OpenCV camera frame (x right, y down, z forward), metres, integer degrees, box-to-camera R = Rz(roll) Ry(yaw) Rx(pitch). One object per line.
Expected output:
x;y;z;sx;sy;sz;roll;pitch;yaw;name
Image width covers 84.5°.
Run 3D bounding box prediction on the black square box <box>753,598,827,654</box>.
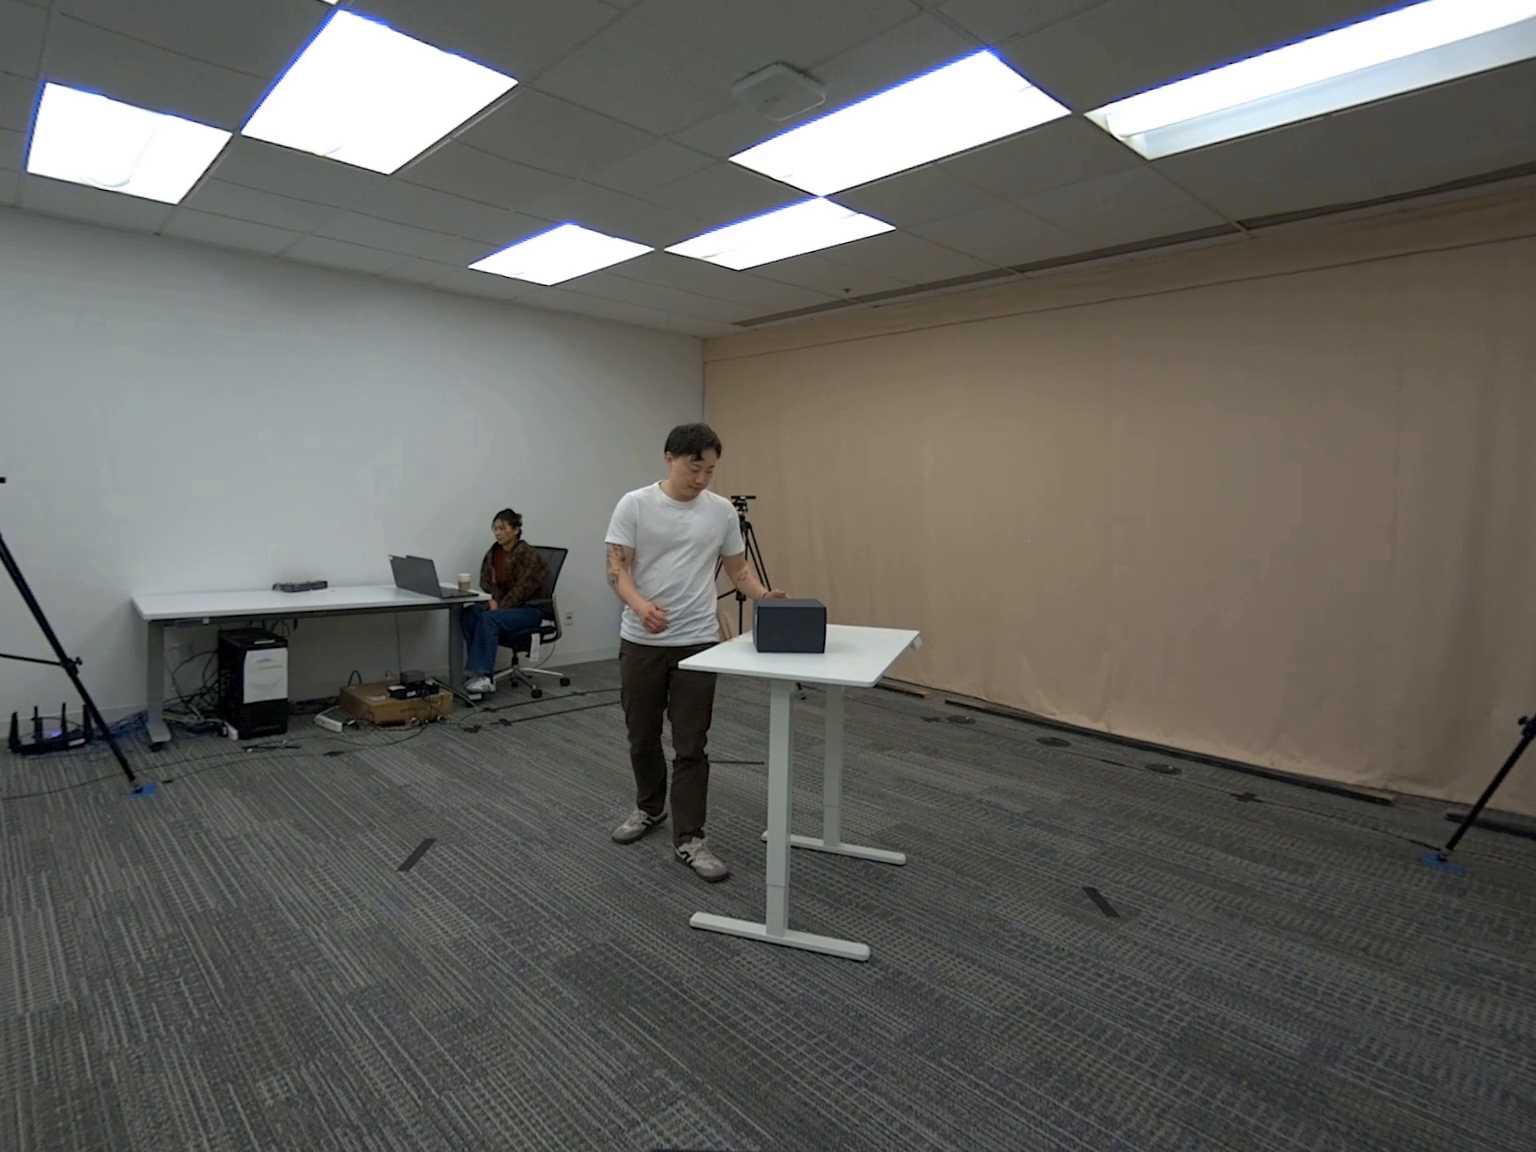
0.064;0.169;2.885;0.228;0.155;0.218;0;4;-1;black square box
